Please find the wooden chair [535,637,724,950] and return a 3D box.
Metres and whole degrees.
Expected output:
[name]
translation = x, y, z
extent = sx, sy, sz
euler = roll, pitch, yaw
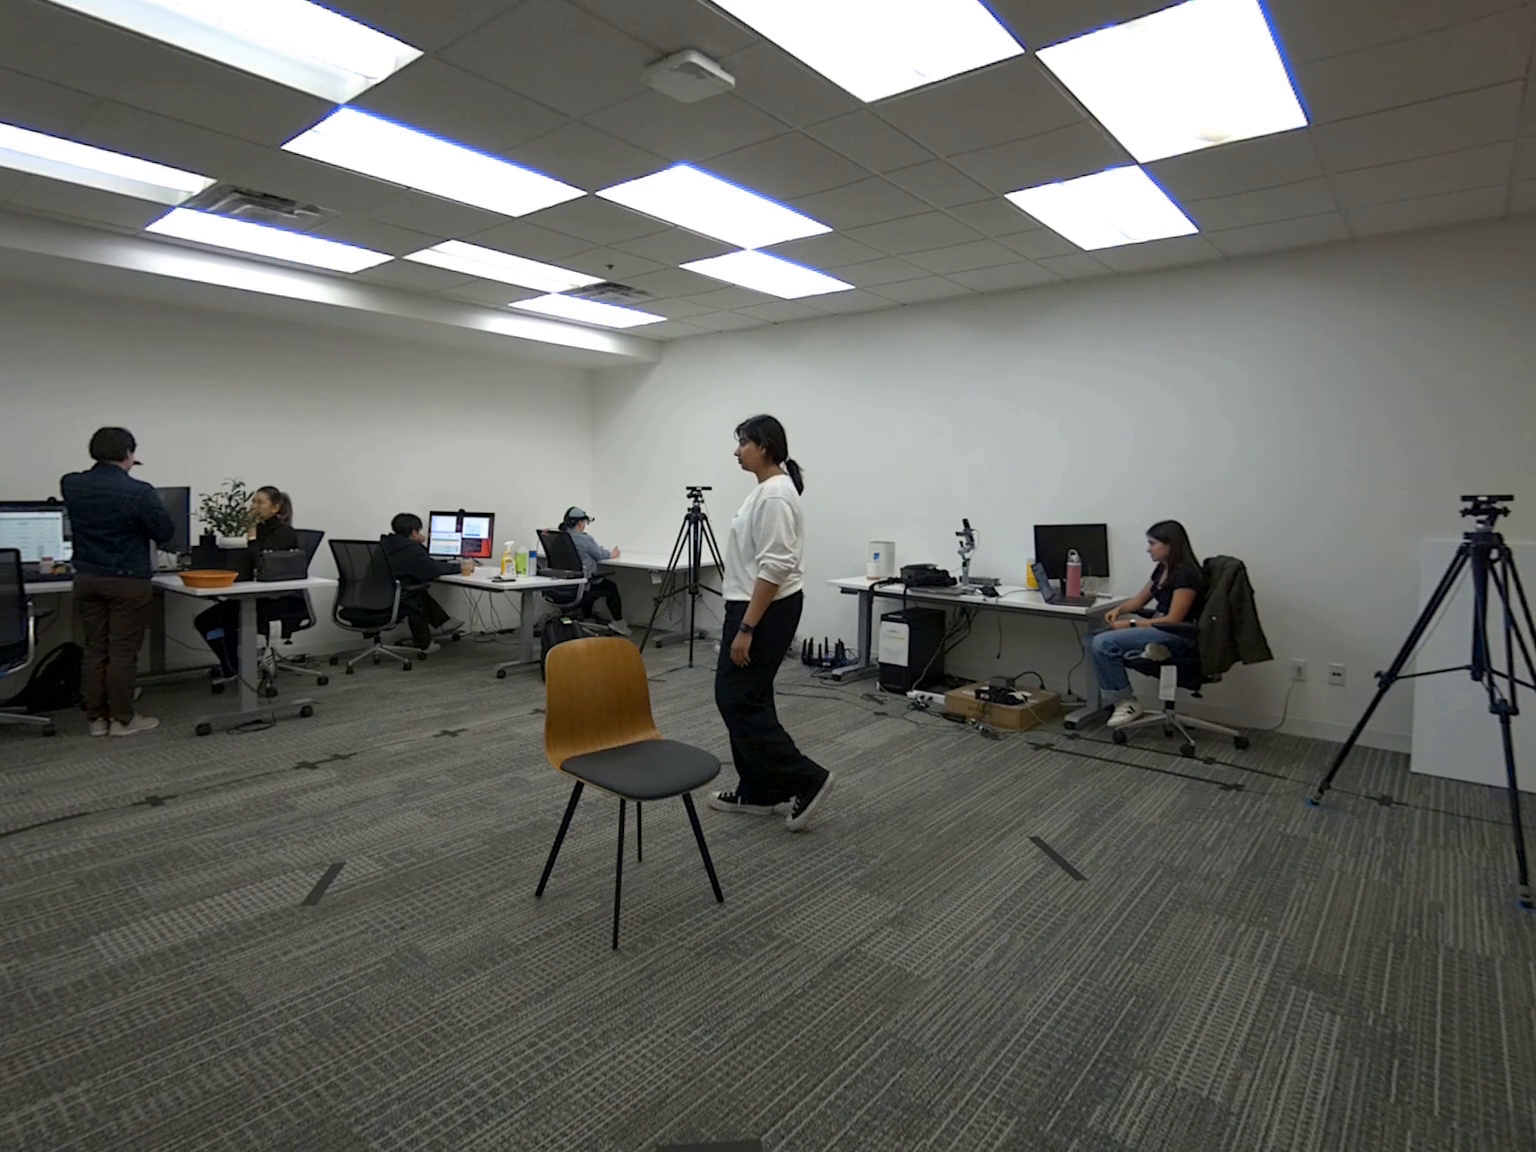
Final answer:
[wooden chair]
translation = -0.455, 0.661, 2.826
extent = 0.463, 0.878, 0.539
euler = -2, 0, -44
